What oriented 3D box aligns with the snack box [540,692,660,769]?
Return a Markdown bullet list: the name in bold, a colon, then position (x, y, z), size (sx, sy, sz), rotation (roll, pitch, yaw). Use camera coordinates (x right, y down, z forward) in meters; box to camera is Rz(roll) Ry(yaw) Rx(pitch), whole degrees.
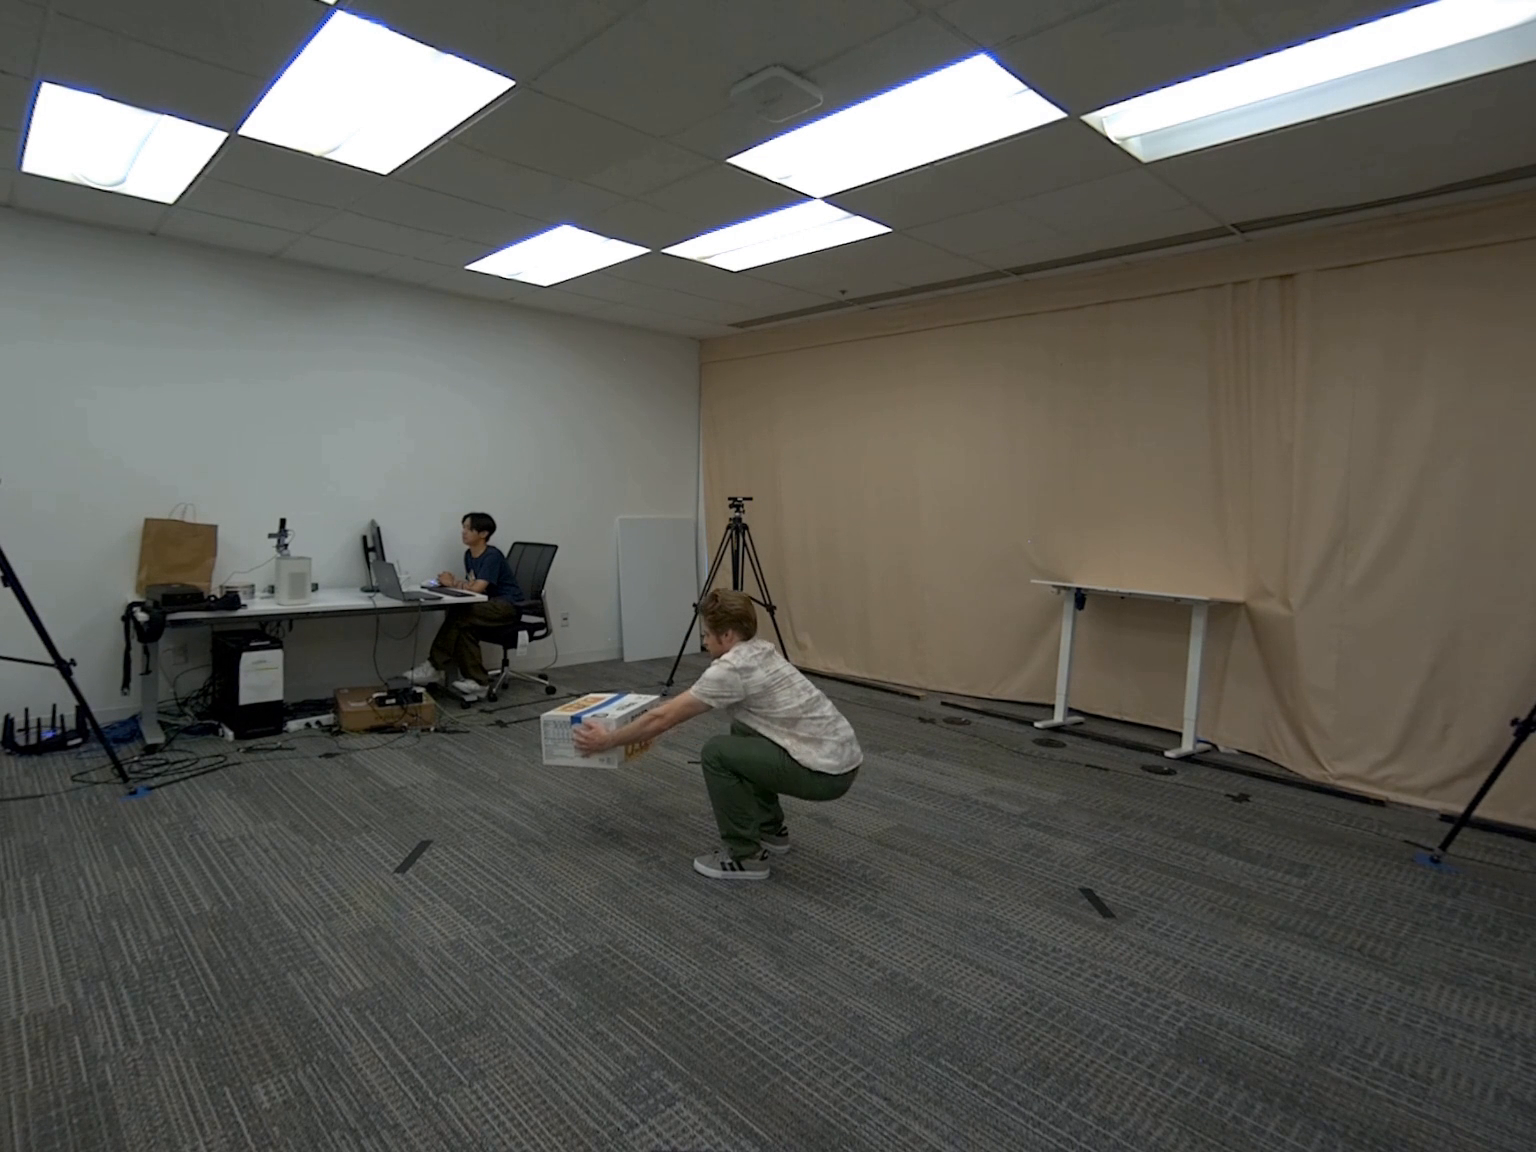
- **snack box**: position (-0.679, 0.622, 3.480), size (0.345, 0.205, 0.400), rotation (-2, 4, 19)
